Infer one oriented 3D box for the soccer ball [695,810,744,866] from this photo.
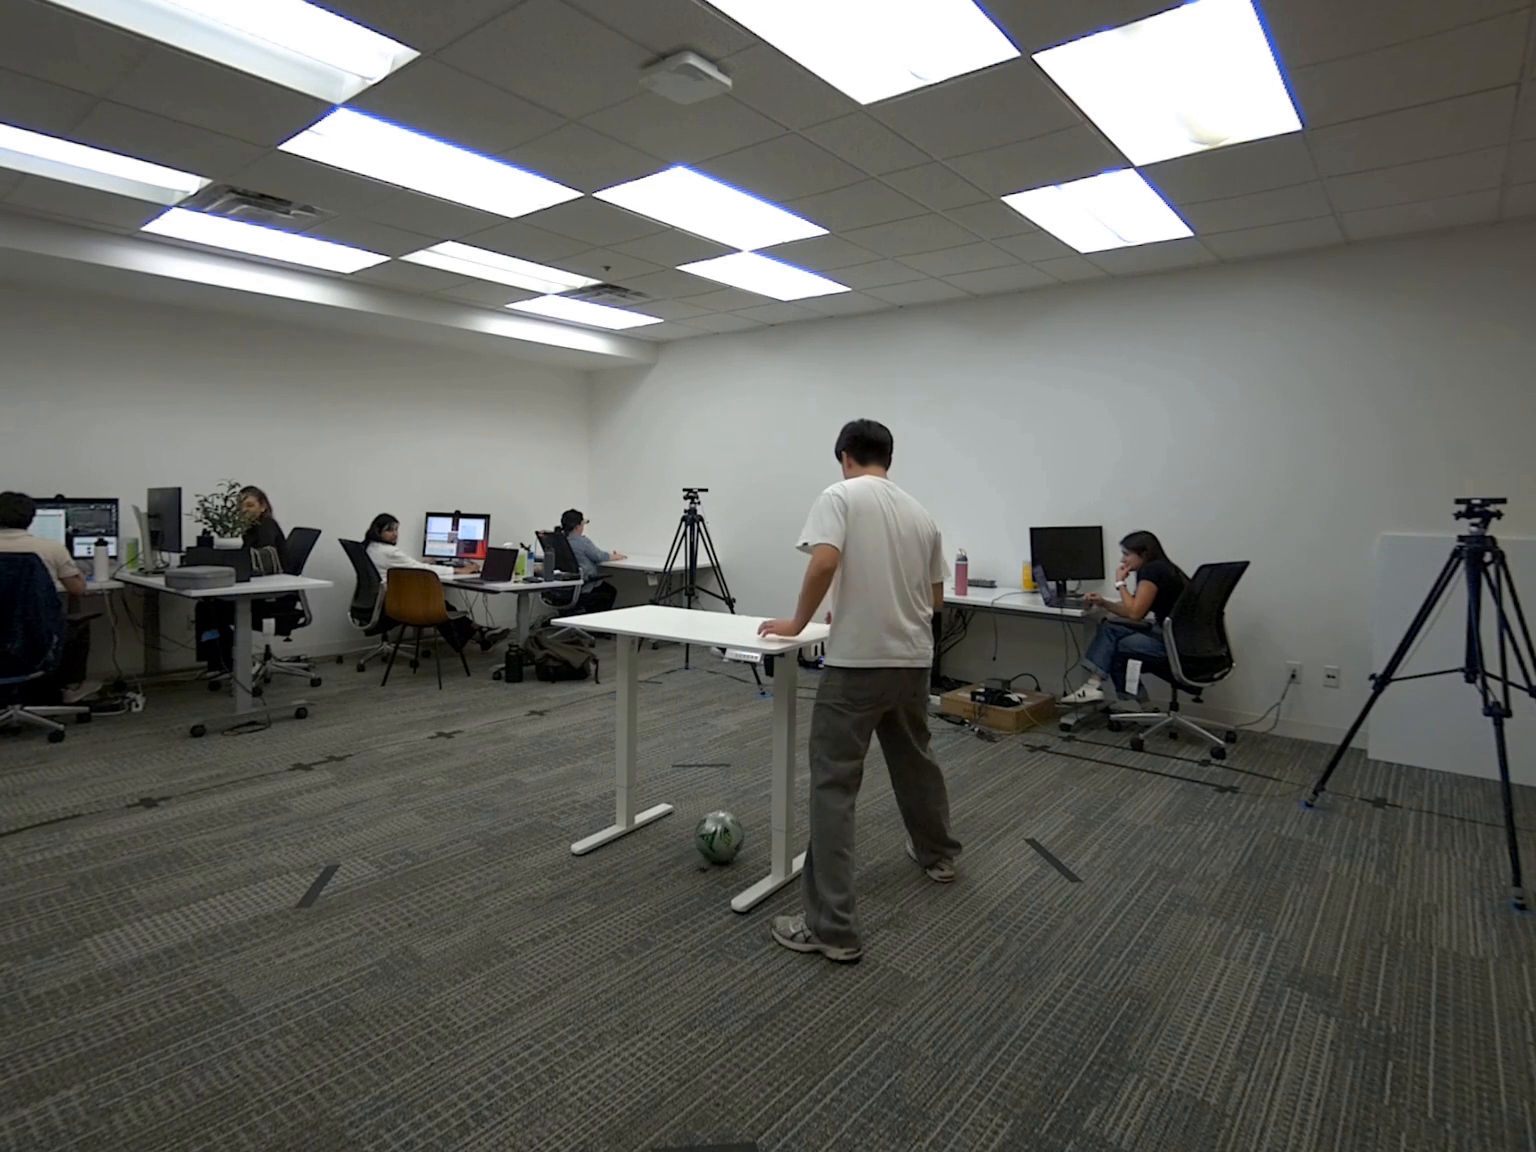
[{"bbox_3d":[-0.180,0.966,3.182,0.187,0.187,0.188,1,4,-2],"label":"soccer ball"}]
